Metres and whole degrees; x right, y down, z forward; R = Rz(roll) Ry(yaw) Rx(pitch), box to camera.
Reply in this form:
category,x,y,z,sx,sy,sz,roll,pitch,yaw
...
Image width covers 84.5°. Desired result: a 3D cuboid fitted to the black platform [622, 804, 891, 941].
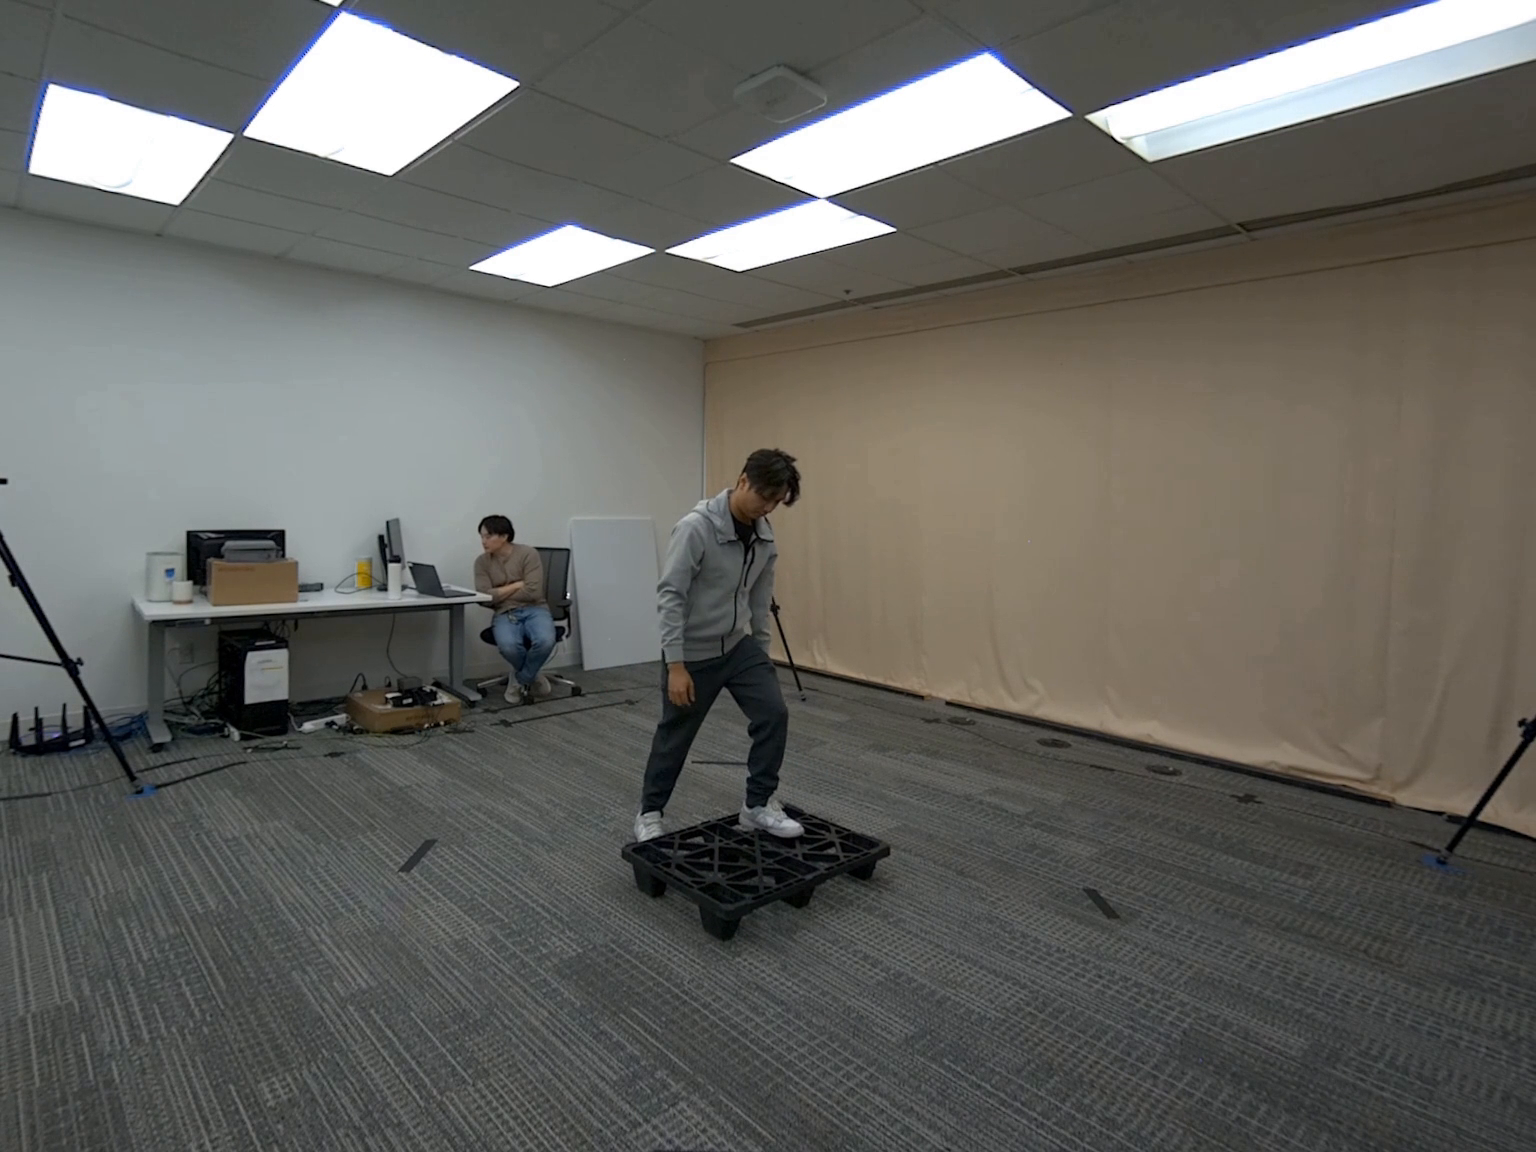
category,x,y,z,sx,sy,sz,roll,pitch,yaw
black platform,-0.050,1.048,3.049,0.787,0.143,0.620,-3,6,-43
